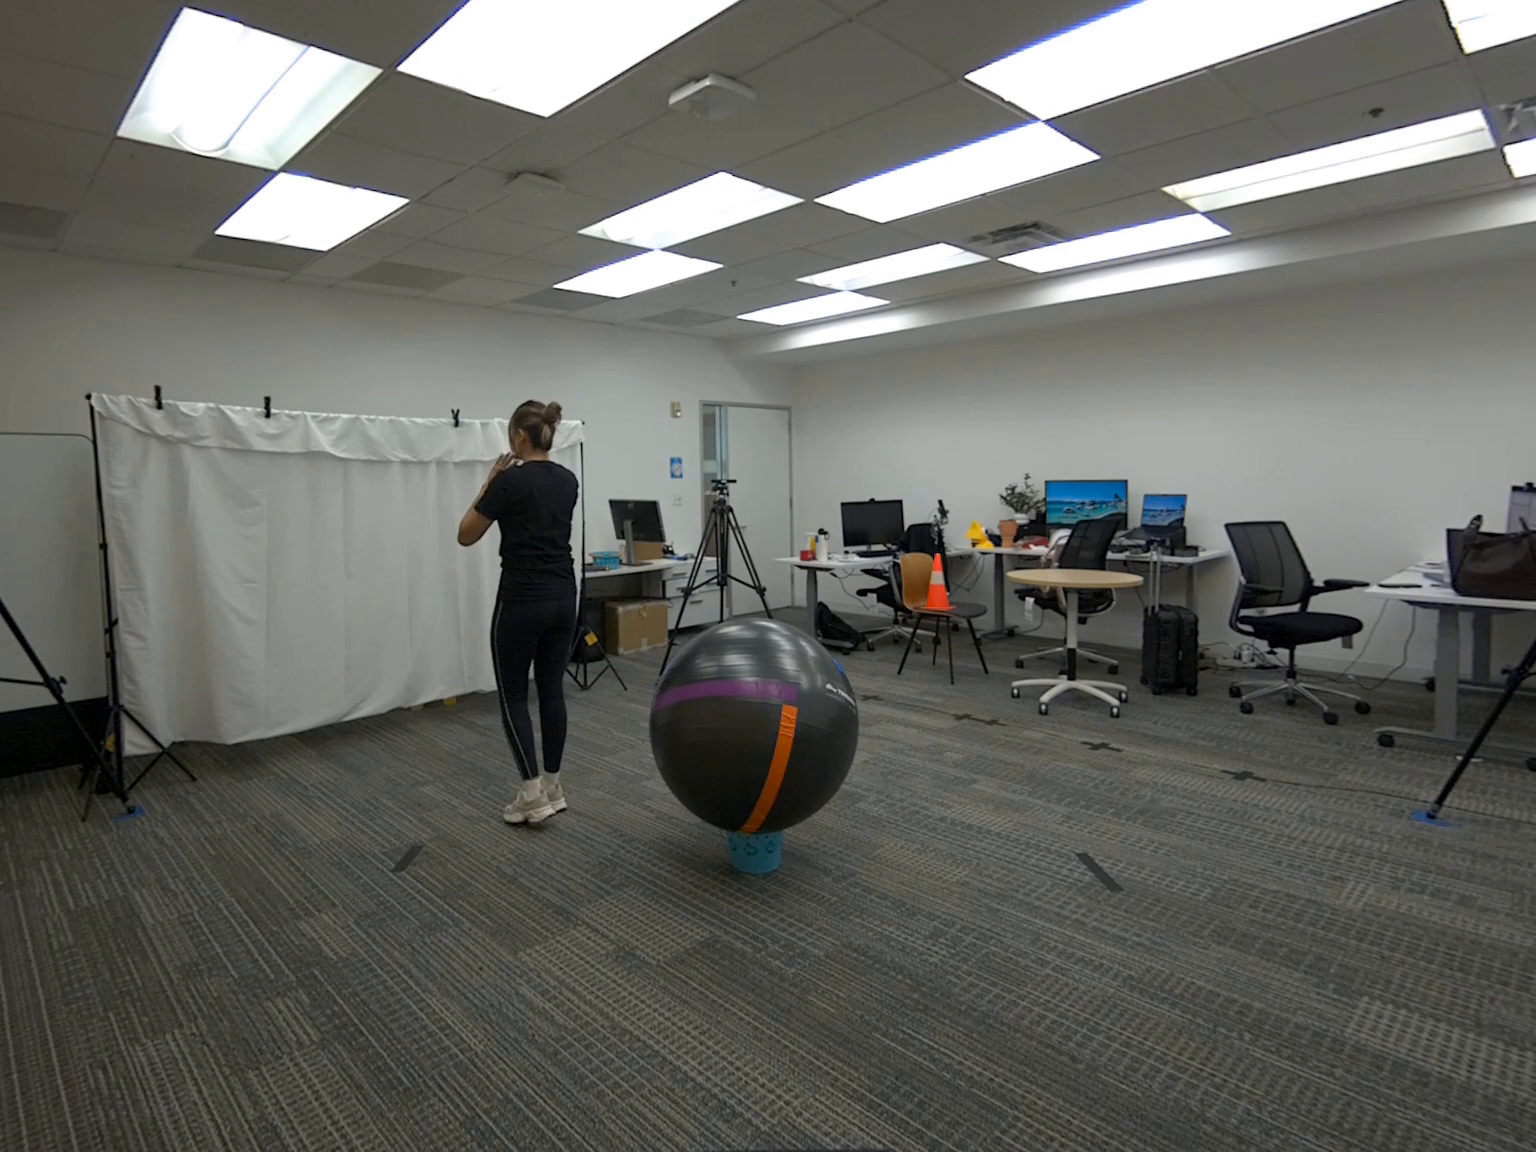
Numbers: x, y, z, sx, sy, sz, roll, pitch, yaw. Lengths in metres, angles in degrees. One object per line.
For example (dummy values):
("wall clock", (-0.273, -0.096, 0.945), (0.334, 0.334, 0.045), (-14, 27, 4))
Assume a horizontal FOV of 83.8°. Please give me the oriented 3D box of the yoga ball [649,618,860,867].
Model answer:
("yoga ball", (-0.051, 0.539, 3.102), (0.757, 0.755, 0.762), (-1, 5, -2))
